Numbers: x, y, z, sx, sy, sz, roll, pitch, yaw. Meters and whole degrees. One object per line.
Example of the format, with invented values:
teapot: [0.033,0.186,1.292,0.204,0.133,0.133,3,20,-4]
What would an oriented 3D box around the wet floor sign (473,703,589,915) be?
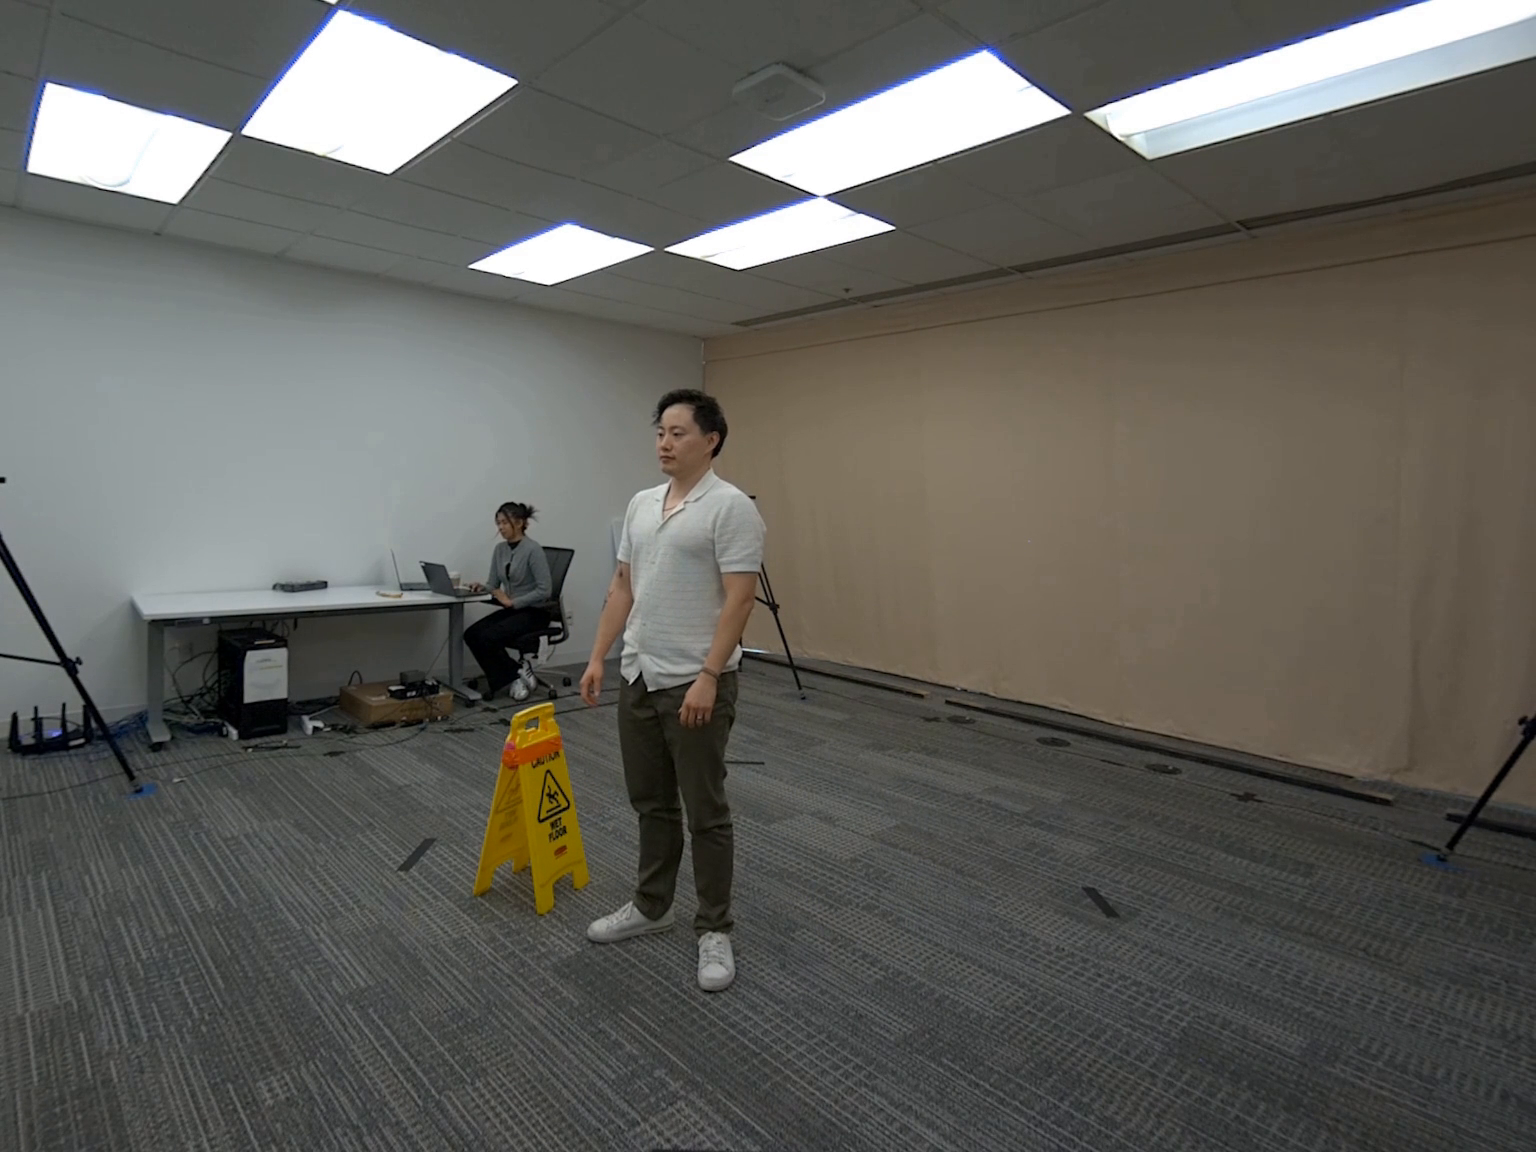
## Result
wet floor sign: [-0.826,0.783,2.933,0.295,0.644,0.278,4,5,25]
